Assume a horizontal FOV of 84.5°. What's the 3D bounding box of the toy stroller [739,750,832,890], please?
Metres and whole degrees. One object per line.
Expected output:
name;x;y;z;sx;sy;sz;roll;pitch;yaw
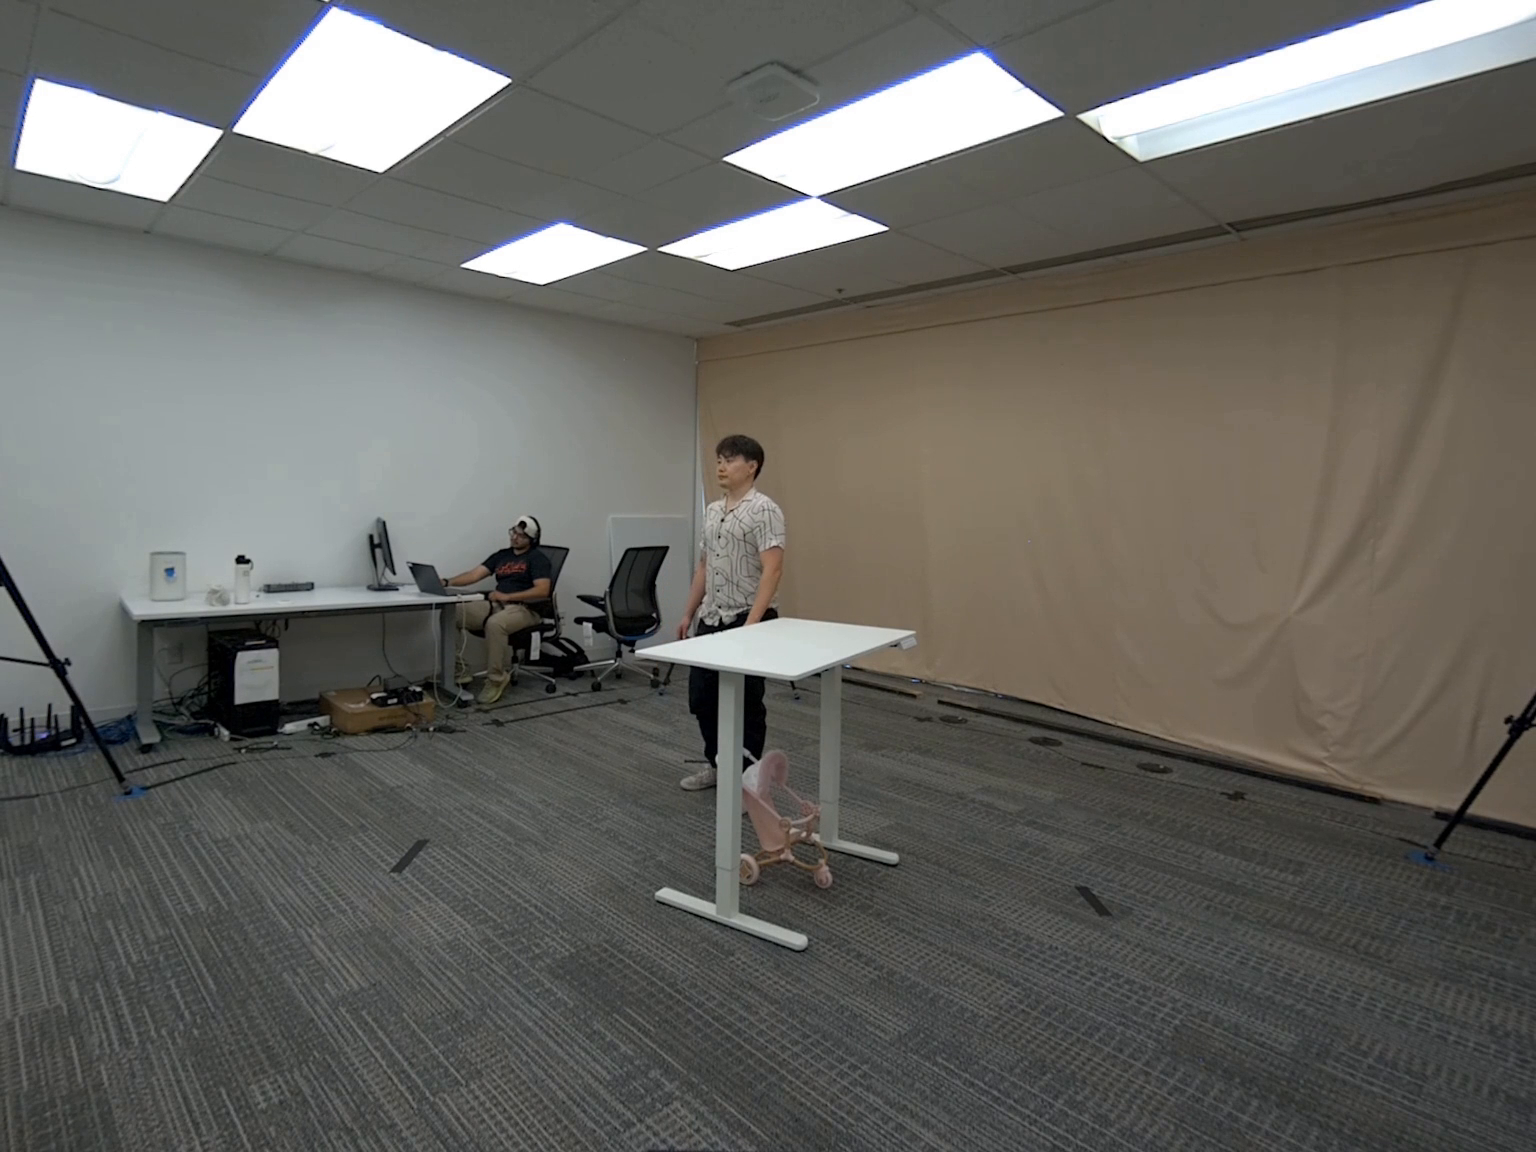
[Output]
toy stroller;0.021;0.882;3.096;0.346;0.538;0.275;-16;-7;33
